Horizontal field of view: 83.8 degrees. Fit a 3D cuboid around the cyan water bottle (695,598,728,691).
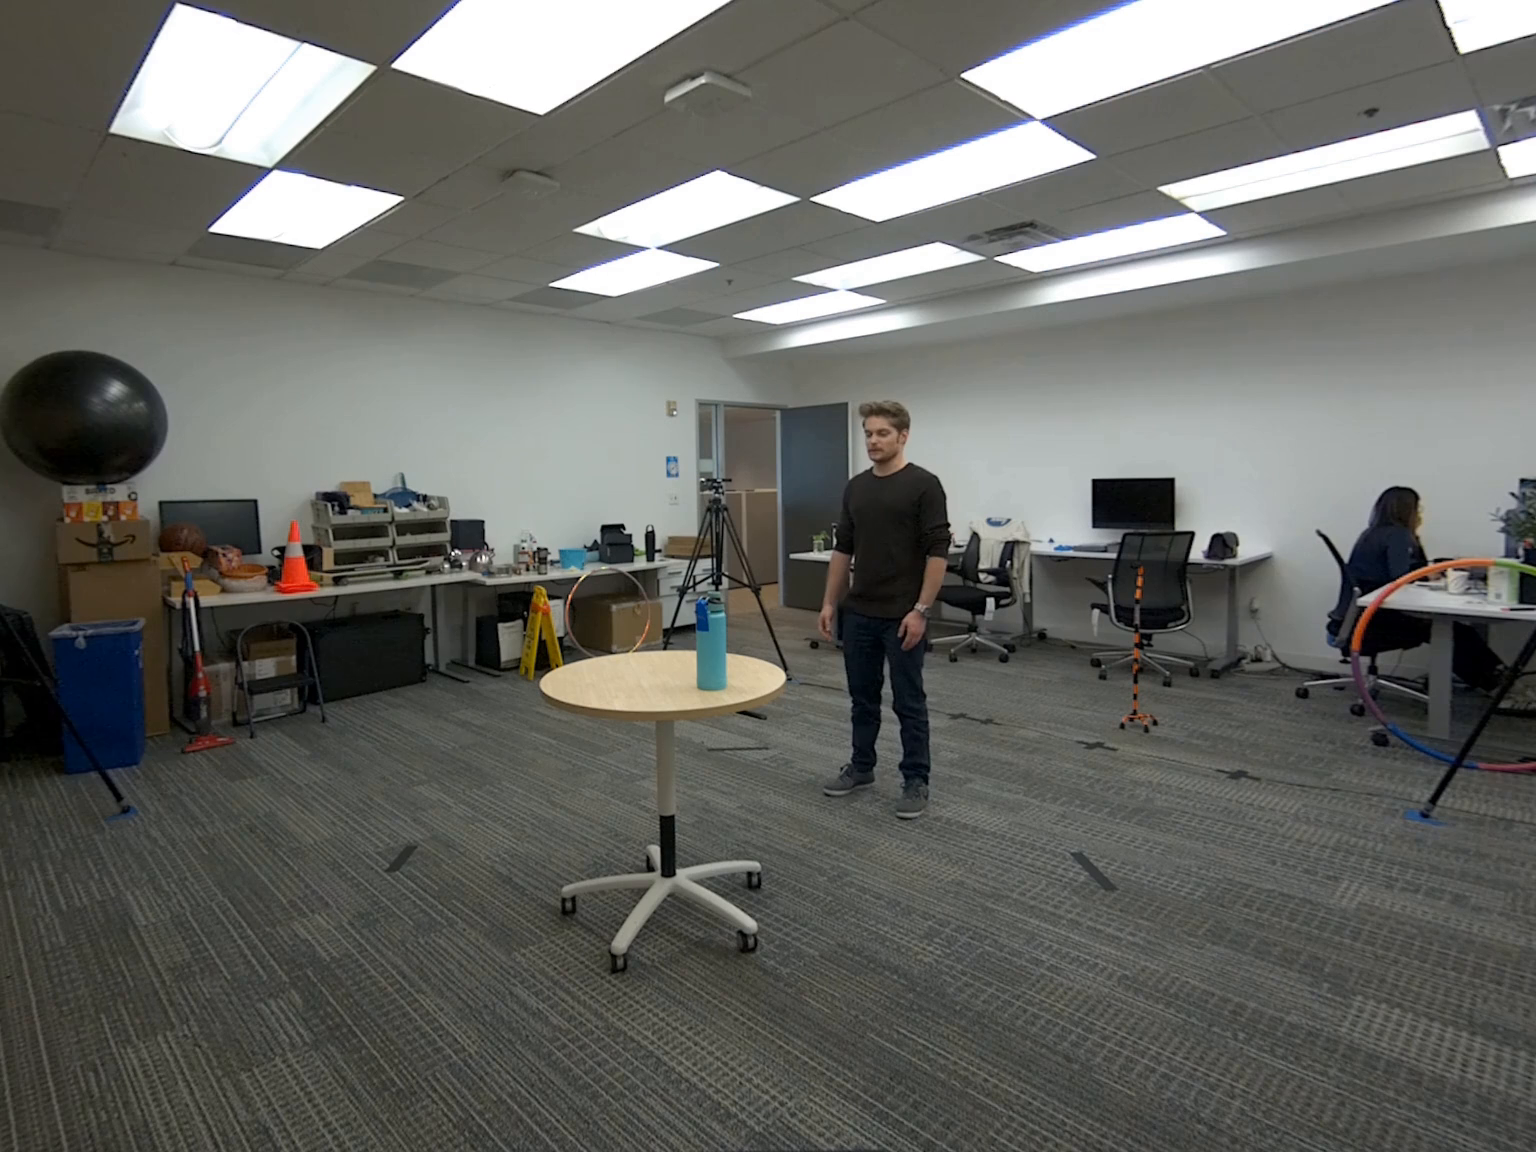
[{"bbox_3d":[-0.167,0.192,2.535,0.092,0.282,0.093,-4,6,-1],"label":"cyan water bottle"}]
